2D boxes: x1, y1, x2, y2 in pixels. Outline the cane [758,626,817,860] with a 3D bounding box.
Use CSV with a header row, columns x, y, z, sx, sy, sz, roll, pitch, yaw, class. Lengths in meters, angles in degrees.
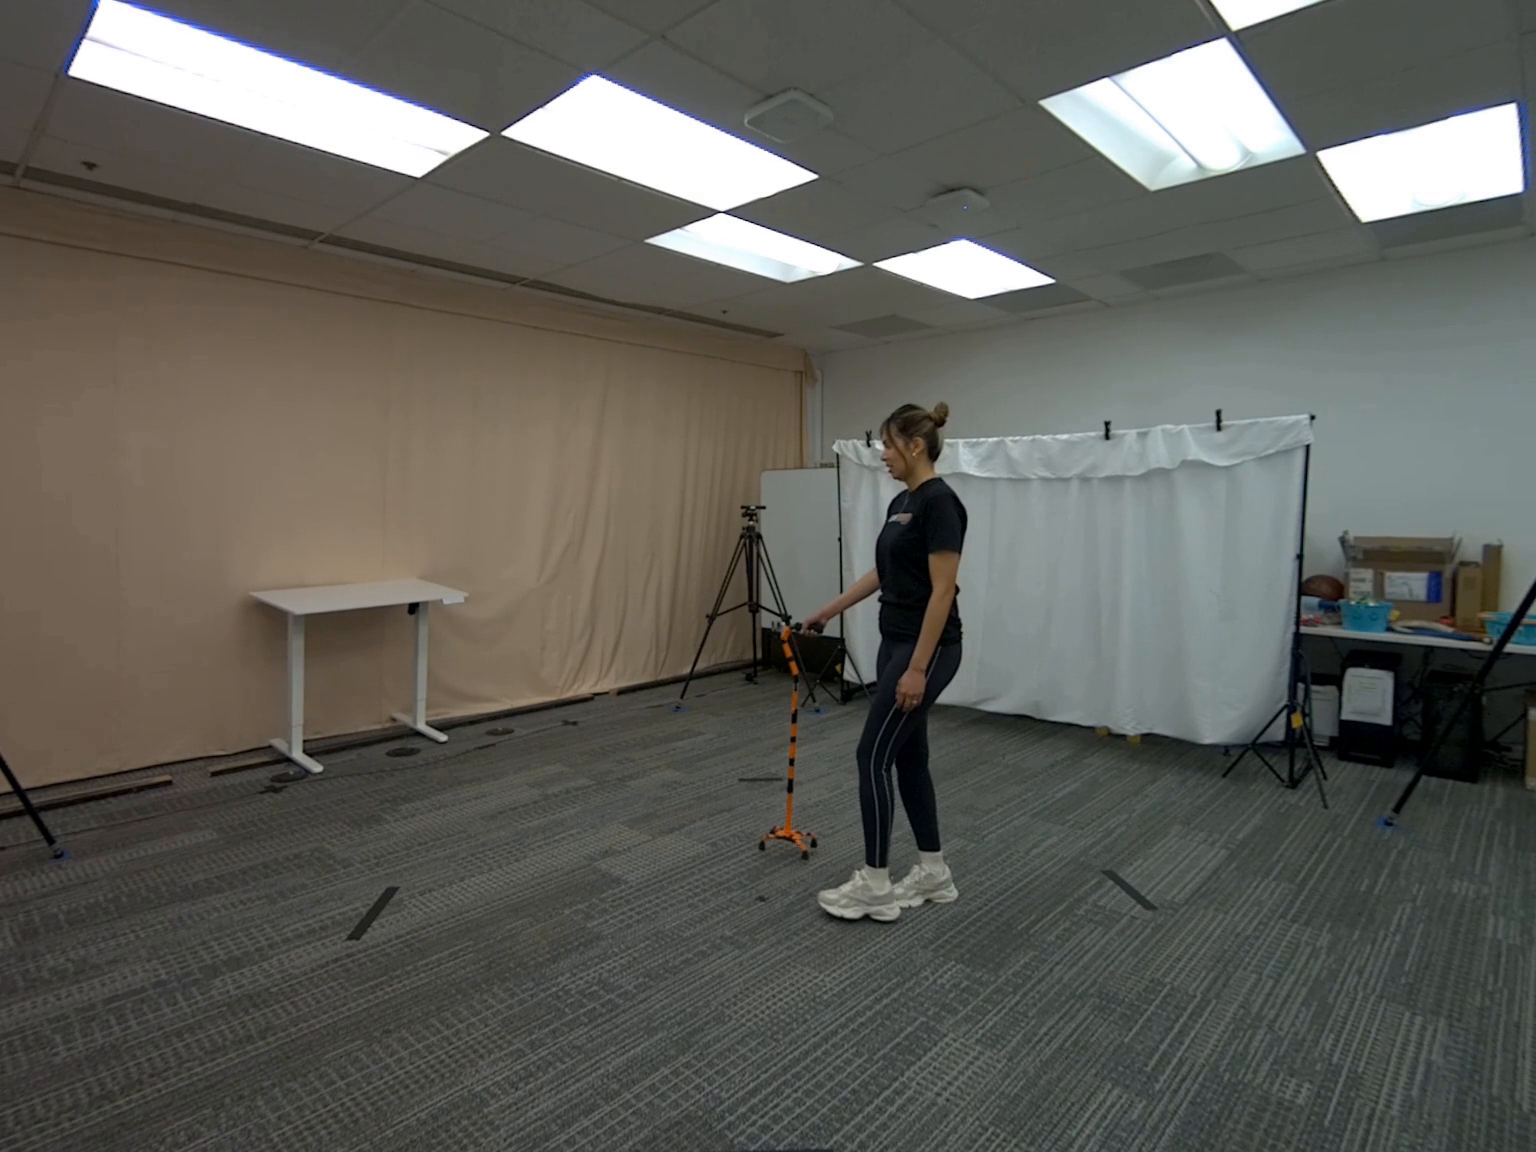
x,y,z,sx,sy,sz,roll,pitch,yaw,class
0.108,0.640,3.304,0.211,0.905,0.149,5,6,19,cane
